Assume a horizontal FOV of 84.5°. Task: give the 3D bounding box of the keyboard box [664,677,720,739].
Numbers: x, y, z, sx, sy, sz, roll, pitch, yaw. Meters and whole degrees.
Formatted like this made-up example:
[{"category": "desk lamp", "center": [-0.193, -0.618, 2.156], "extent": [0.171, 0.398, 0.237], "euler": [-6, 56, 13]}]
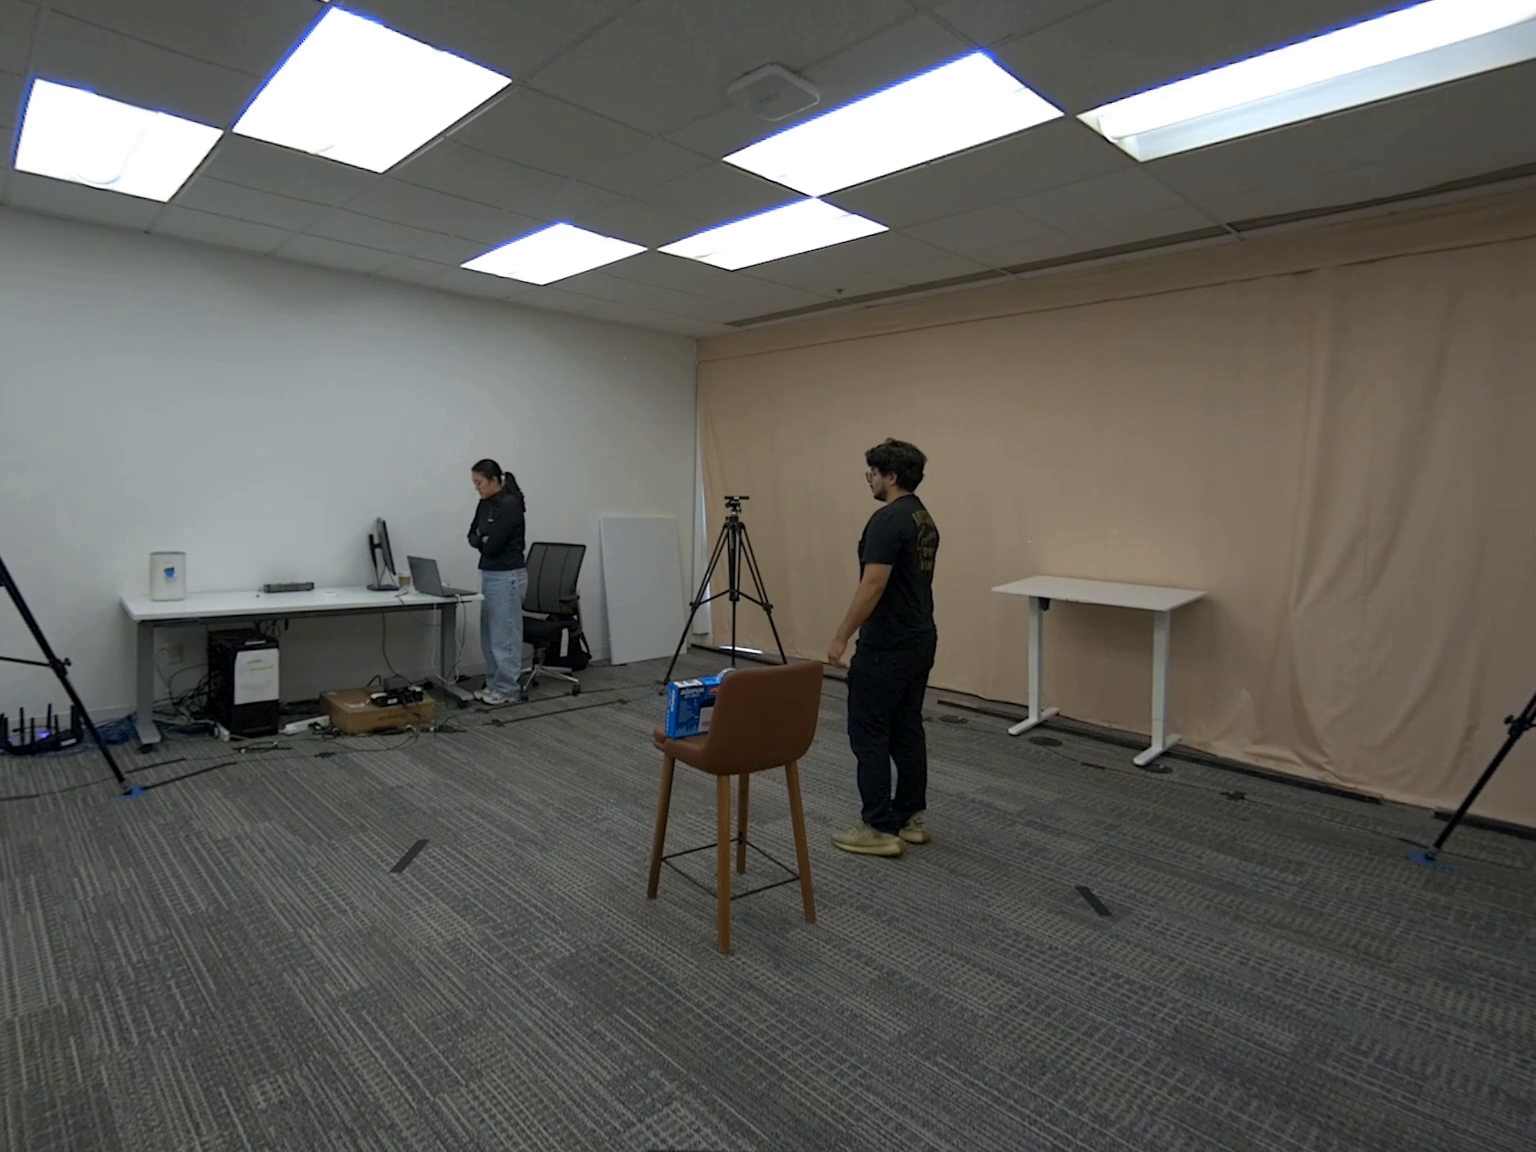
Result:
[{"category": "keyboard box", "center": [-0.141, 0.429, 2.829], "extent": [0.427, 0.175, 0.061], "euler": [-2, 12, -35]}]
